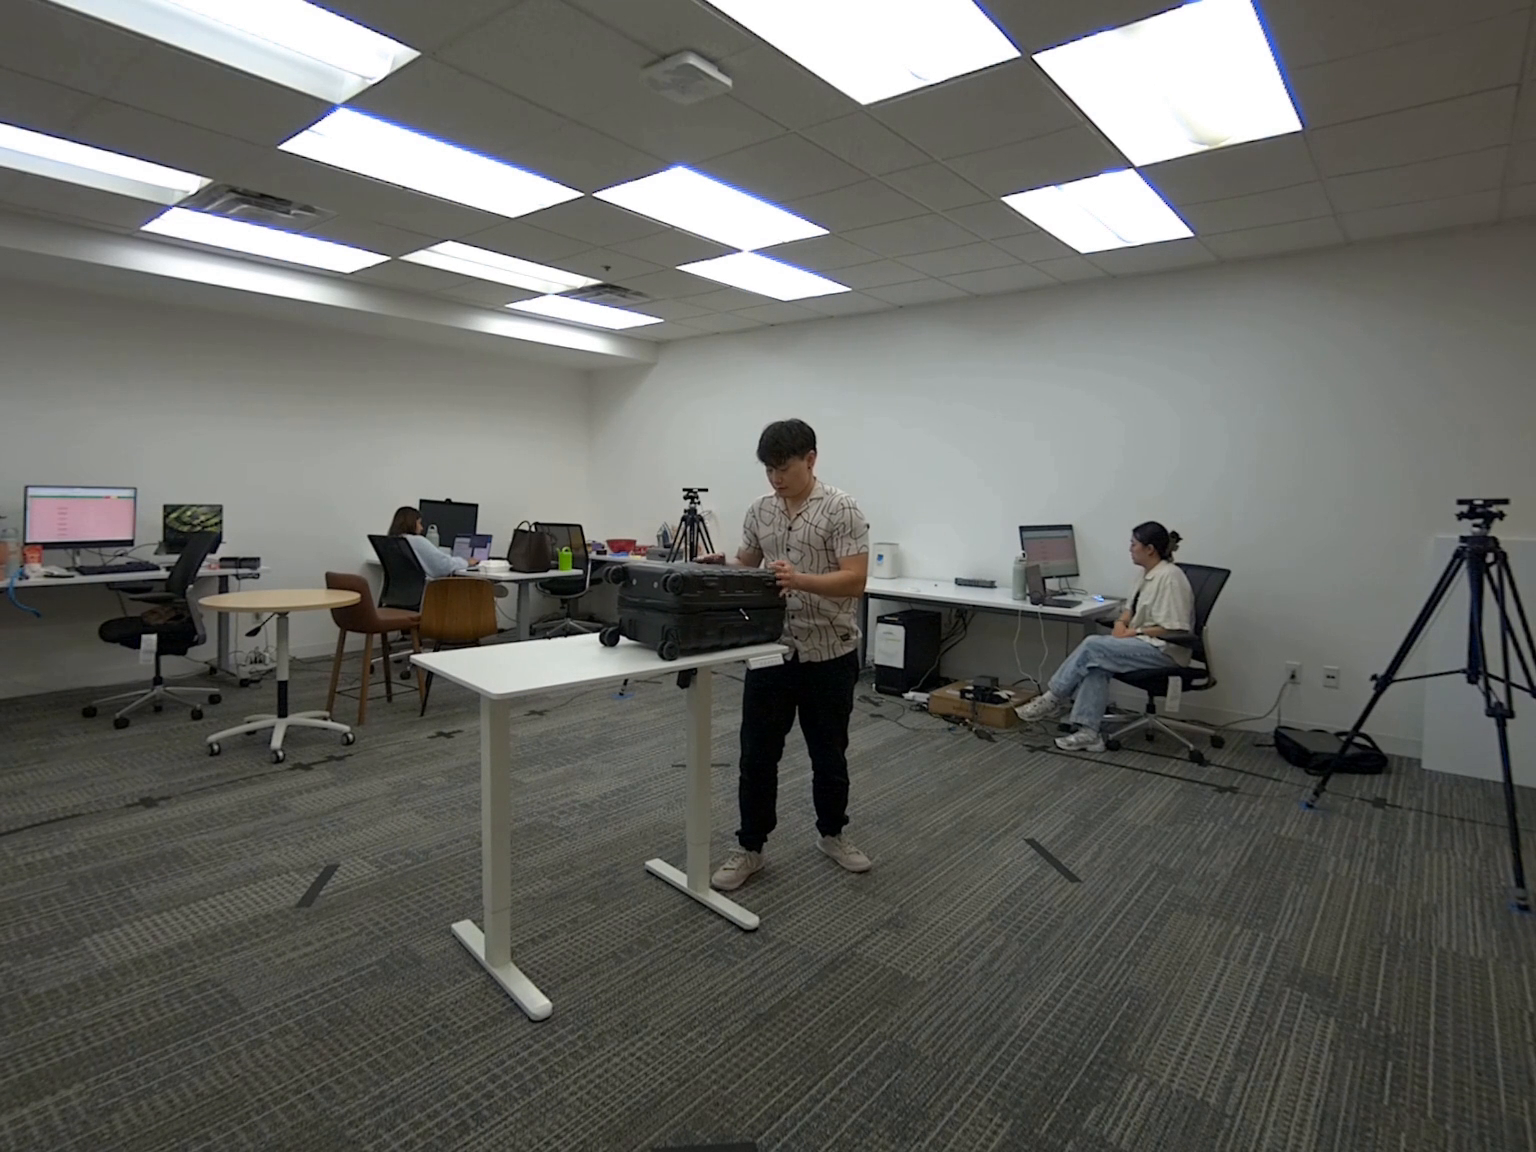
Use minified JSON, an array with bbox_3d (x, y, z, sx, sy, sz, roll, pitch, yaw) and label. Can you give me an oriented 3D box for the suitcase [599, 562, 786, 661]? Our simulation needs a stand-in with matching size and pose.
[{"bbox_3d":[-0.236,0.090,2.778,0.532,0.248,0.389,0,5,-45],"label":"suitcase"}]
